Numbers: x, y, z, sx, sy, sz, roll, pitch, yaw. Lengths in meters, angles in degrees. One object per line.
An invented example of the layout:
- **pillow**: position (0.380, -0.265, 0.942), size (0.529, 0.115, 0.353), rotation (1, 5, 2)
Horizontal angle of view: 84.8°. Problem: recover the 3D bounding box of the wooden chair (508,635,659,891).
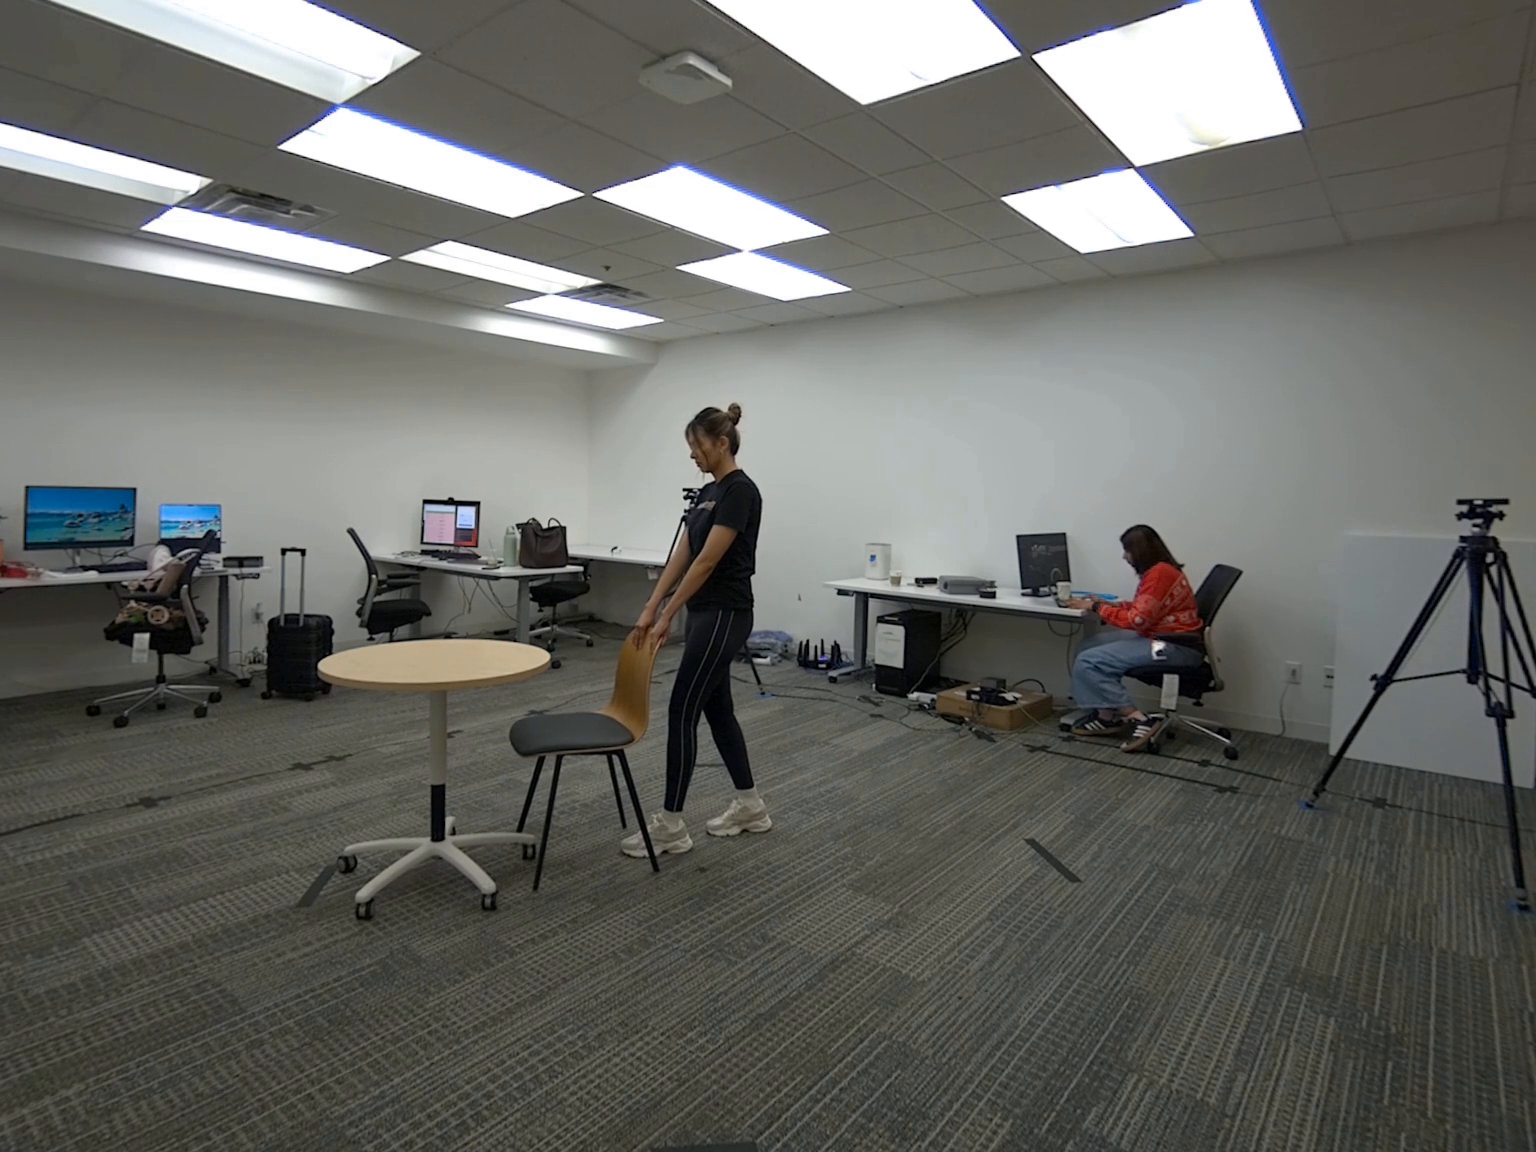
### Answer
- **wooden chair**: position (-0.701, 0.629, 3.169), size (0.511, 0.876, 0.490), rotation (5, 2, -24)
